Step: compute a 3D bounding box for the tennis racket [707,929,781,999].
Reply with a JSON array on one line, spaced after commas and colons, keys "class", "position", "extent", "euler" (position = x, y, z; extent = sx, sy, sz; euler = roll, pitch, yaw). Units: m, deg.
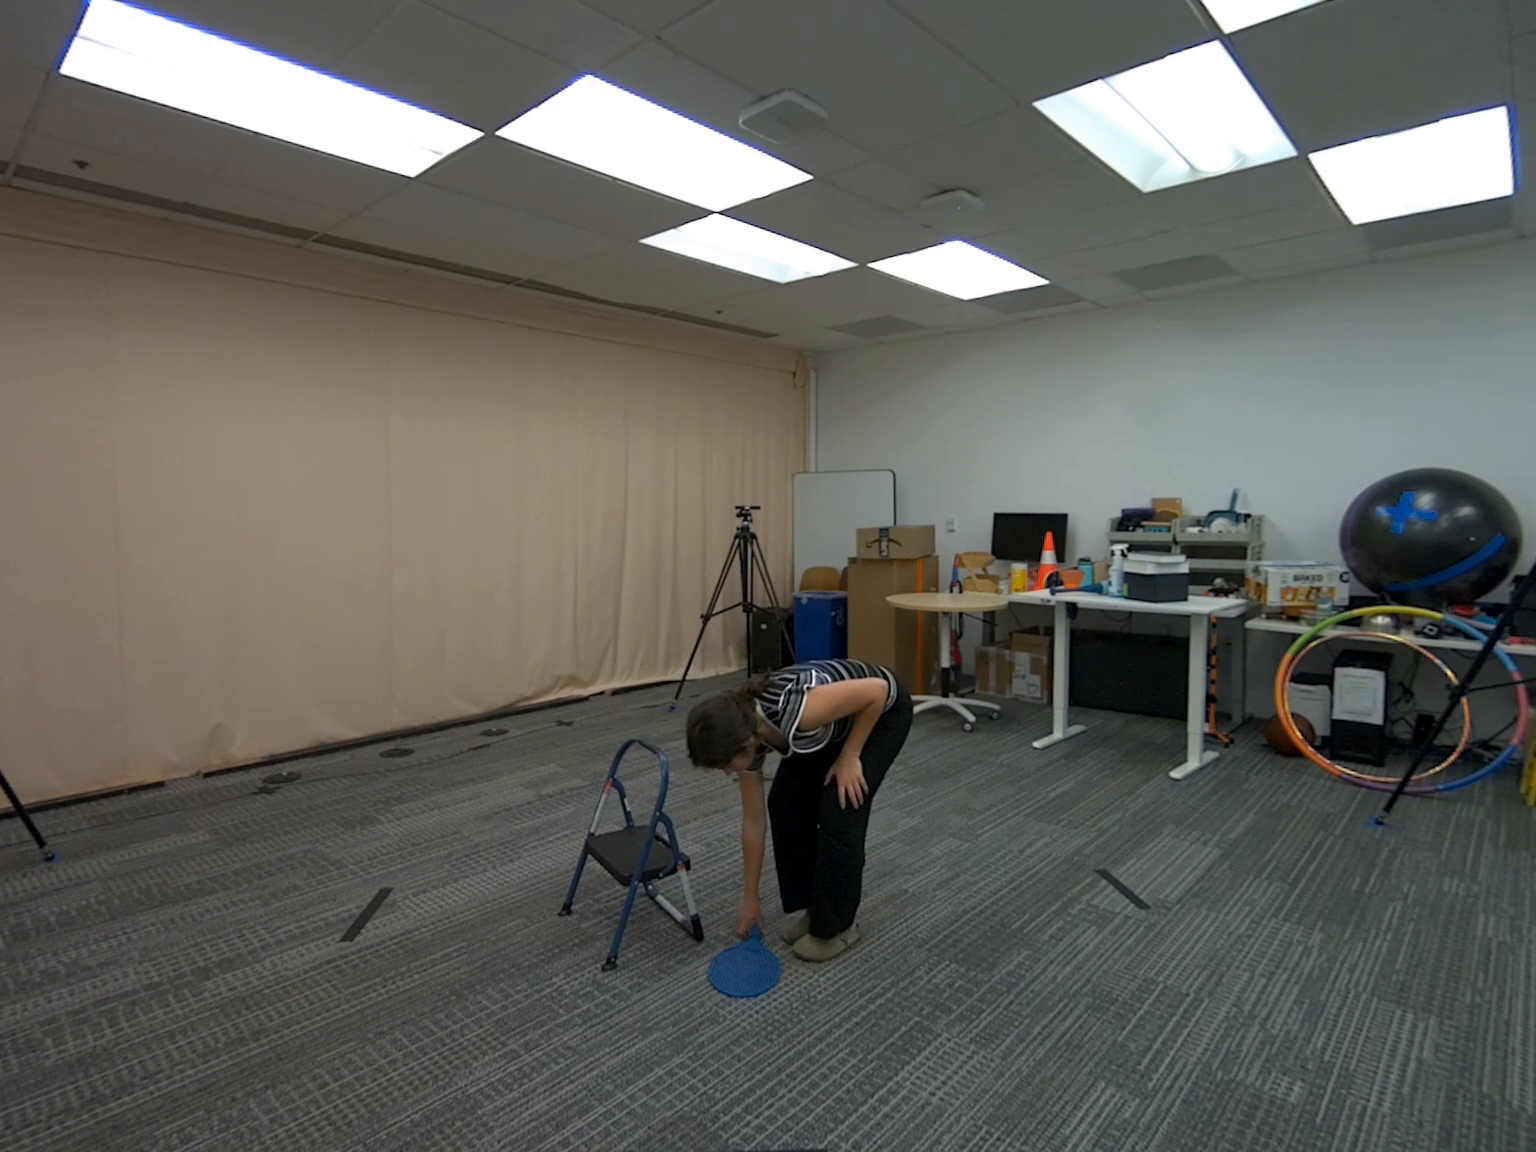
[{"class": "tennis racket", "position": [-0.055, 1.161, 2.594], "extent": [0.217, 0.031, 0.428], "euler": [1, 7, 11]}]
